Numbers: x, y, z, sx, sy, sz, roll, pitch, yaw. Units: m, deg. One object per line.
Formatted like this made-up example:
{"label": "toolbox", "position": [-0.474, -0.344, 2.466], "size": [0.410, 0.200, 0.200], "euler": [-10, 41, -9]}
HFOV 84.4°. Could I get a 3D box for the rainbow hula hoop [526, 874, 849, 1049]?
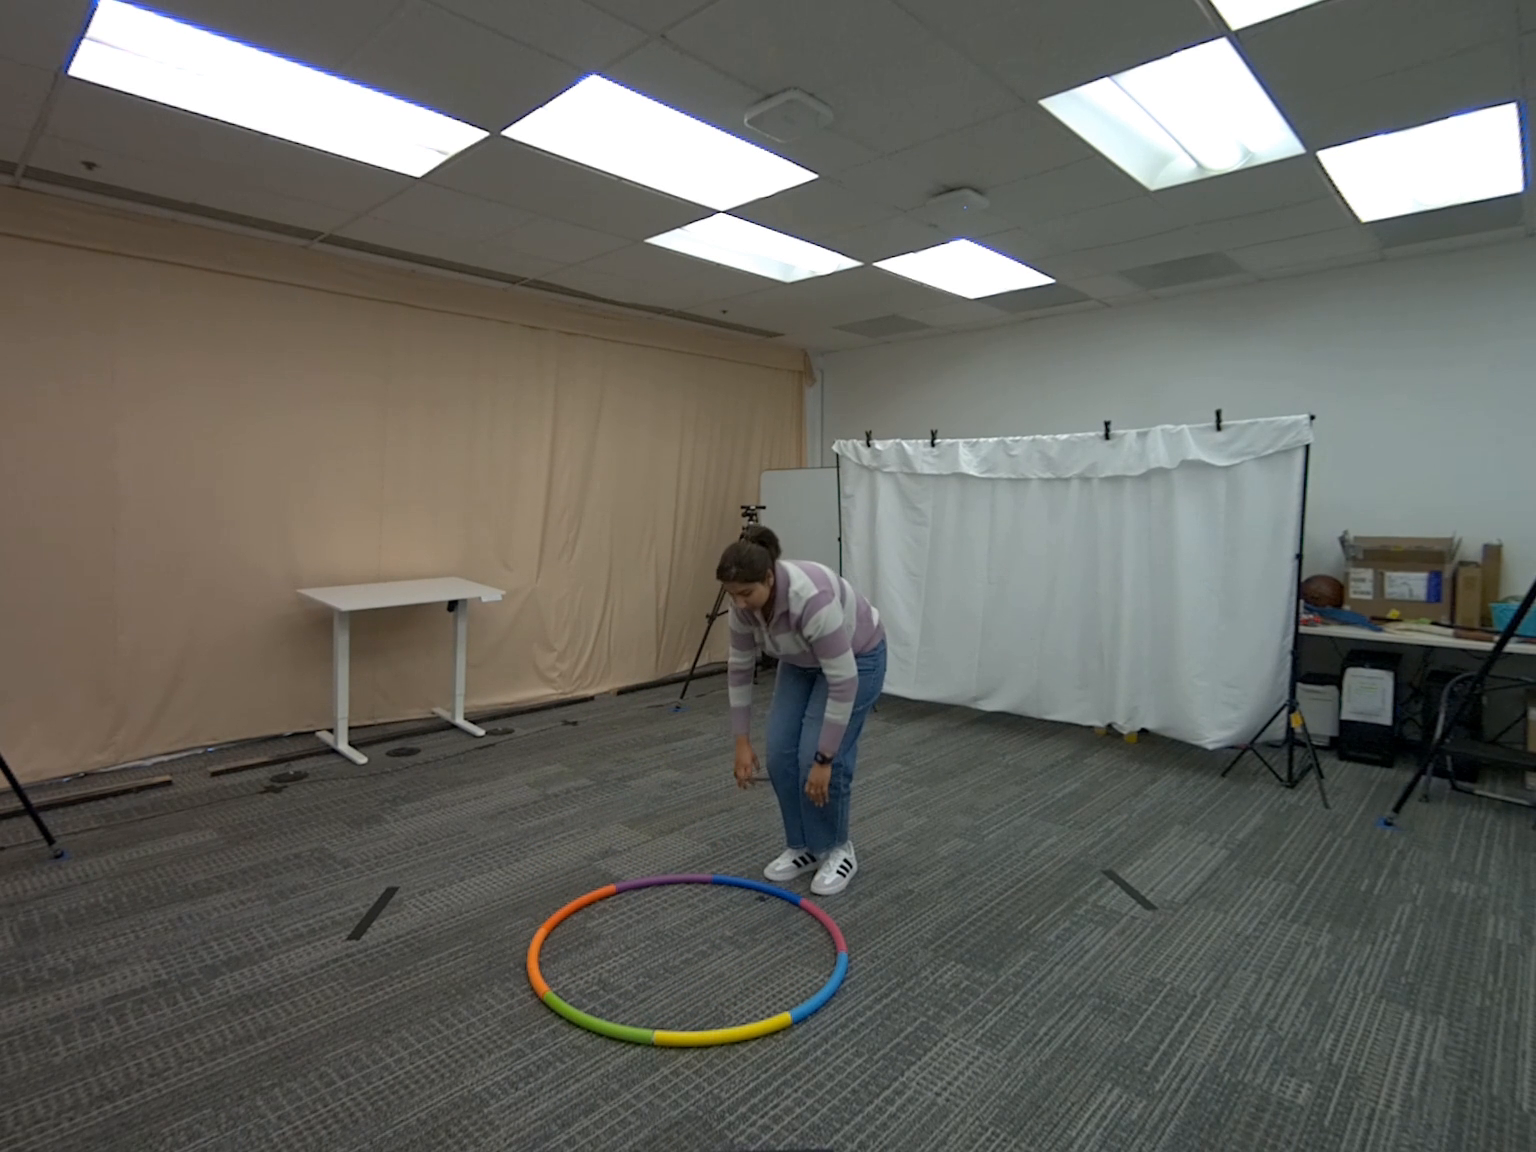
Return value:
{"label": "rainbow hula hoop", "position": [-0.251, 1.144, 2.645], "size": [0.978, 0.035, 0.982], "euler": [-1, 4, -2]}
